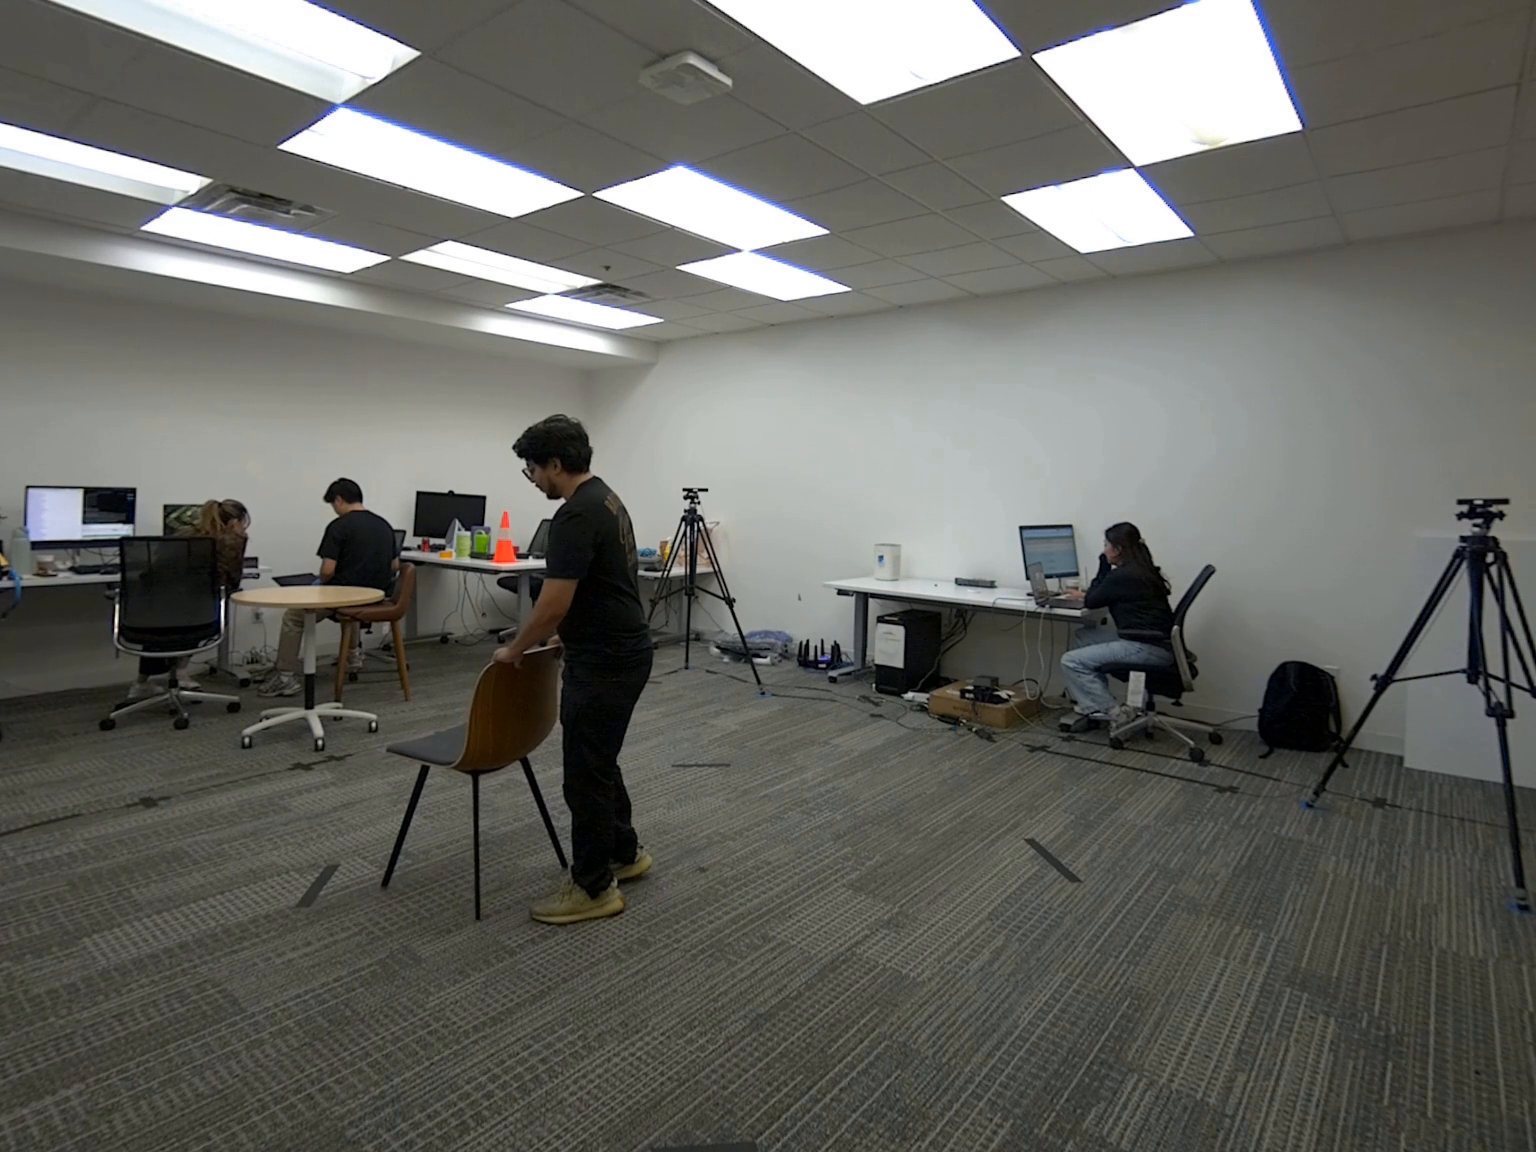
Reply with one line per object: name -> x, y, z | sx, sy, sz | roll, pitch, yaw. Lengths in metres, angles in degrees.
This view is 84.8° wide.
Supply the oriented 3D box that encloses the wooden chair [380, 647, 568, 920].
wooden chair -> -1.045, 0.641, 2.988 | 0.538, 0.873, 0.467 | 8, 6, 27
